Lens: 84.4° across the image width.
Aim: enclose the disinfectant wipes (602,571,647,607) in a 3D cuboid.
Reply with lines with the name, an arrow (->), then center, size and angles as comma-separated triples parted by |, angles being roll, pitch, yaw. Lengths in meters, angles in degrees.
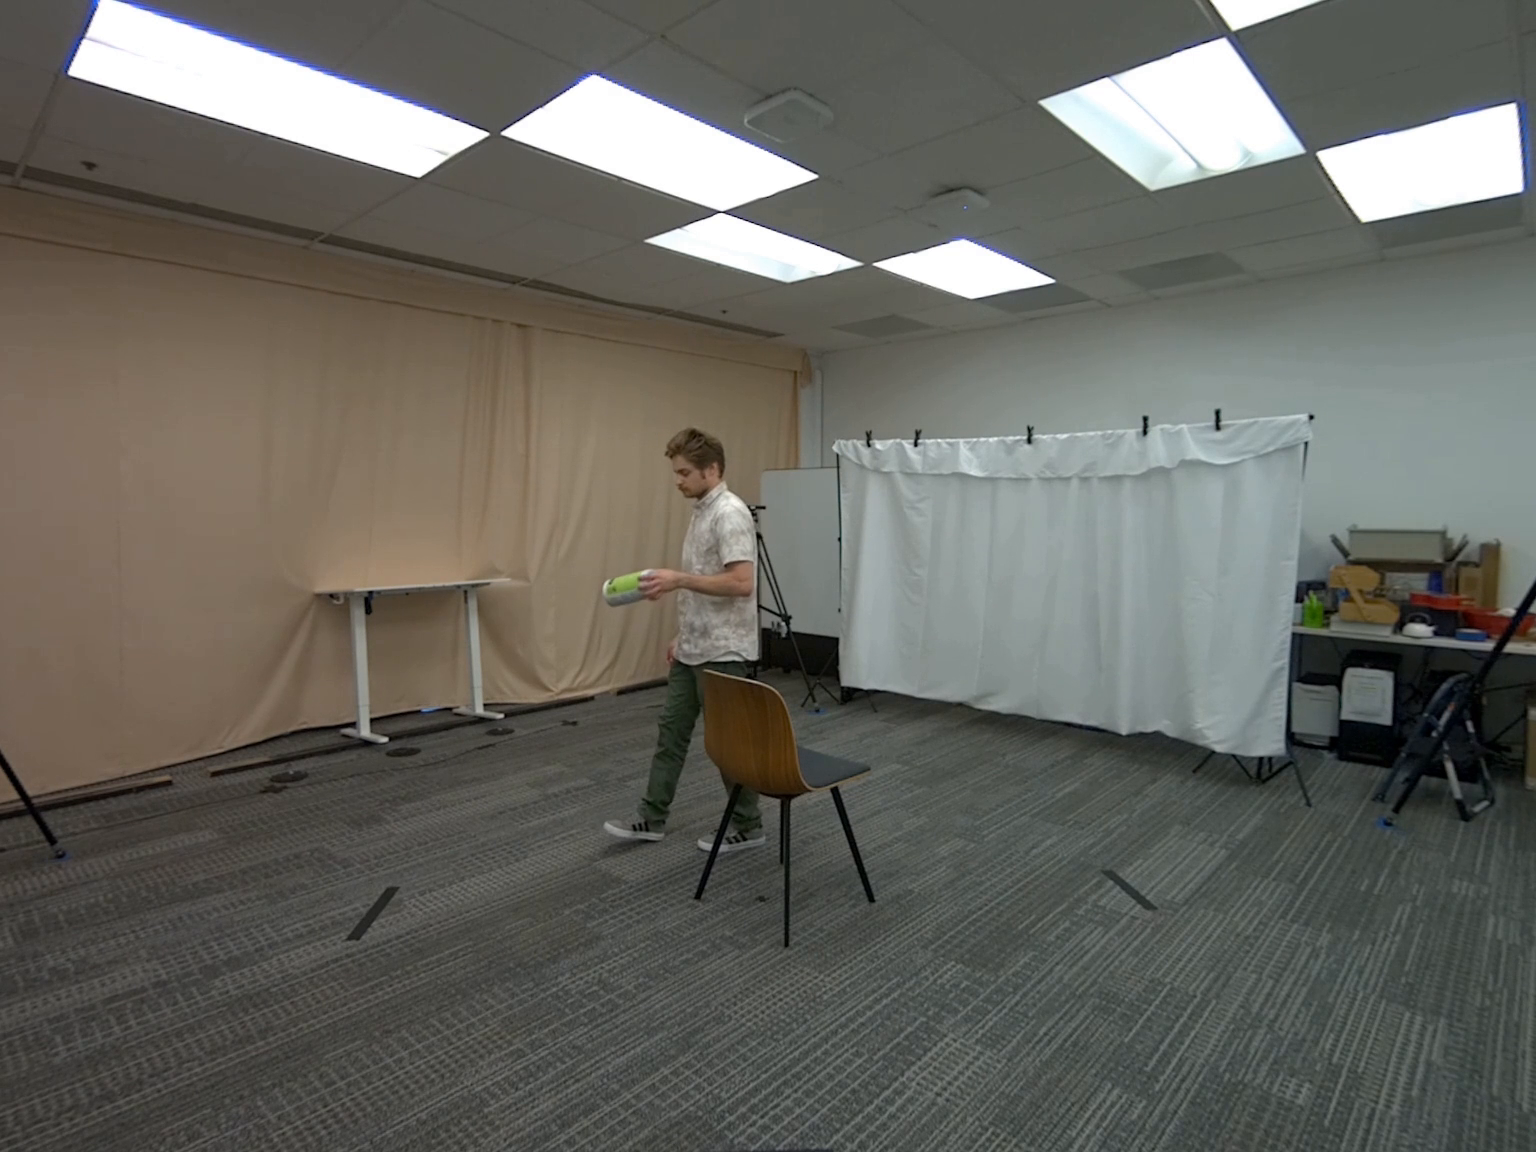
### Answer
disinfectant wipes -> -0.527, 0.051, 3.257 | 0.222, 0.118, 0.115 | -14, -3, 28
